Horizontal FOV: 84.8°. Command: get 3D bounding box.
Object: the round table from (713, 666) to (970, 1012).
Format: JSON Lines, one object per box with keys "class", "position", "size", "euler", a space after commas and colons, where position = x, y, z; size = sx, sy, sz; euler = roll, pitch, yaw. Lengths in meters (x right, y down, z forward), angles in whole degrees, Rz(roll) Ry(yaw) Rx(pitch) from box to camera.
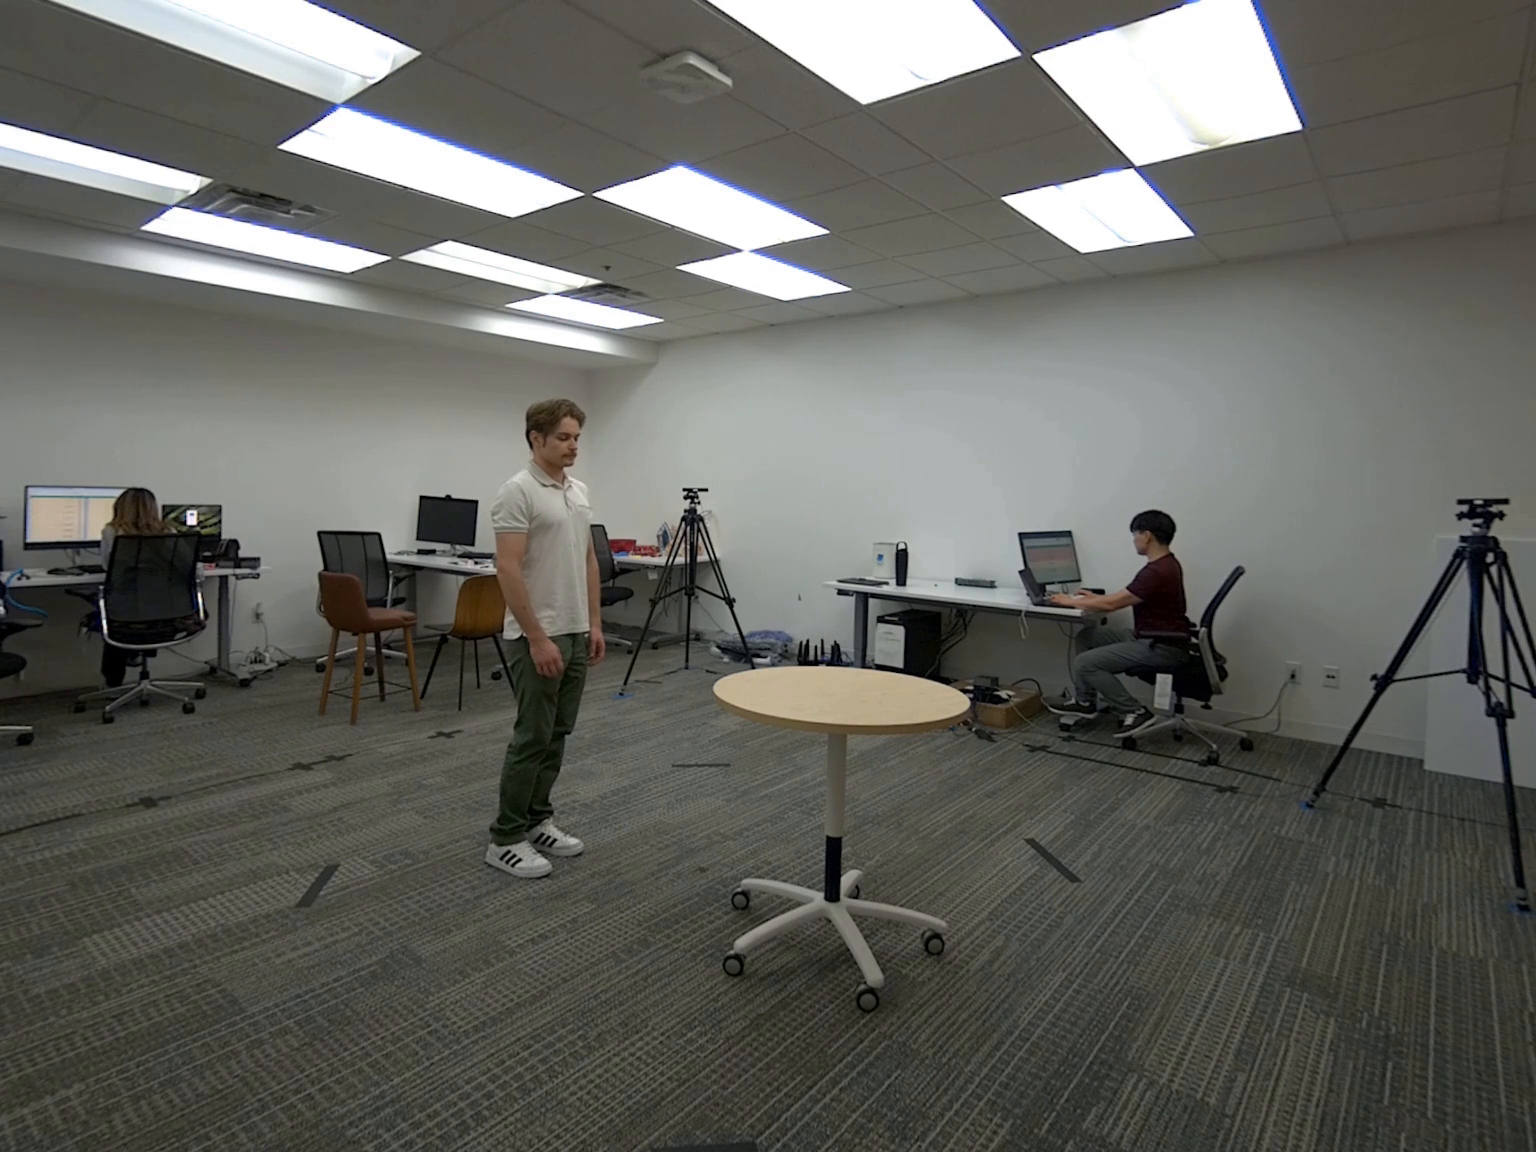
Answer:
{"class": "round table", "position": [0.177, 0.735, 2.596], "size": [0.784, 0.784, 0.788], "euler": [2, 4, -2]}
